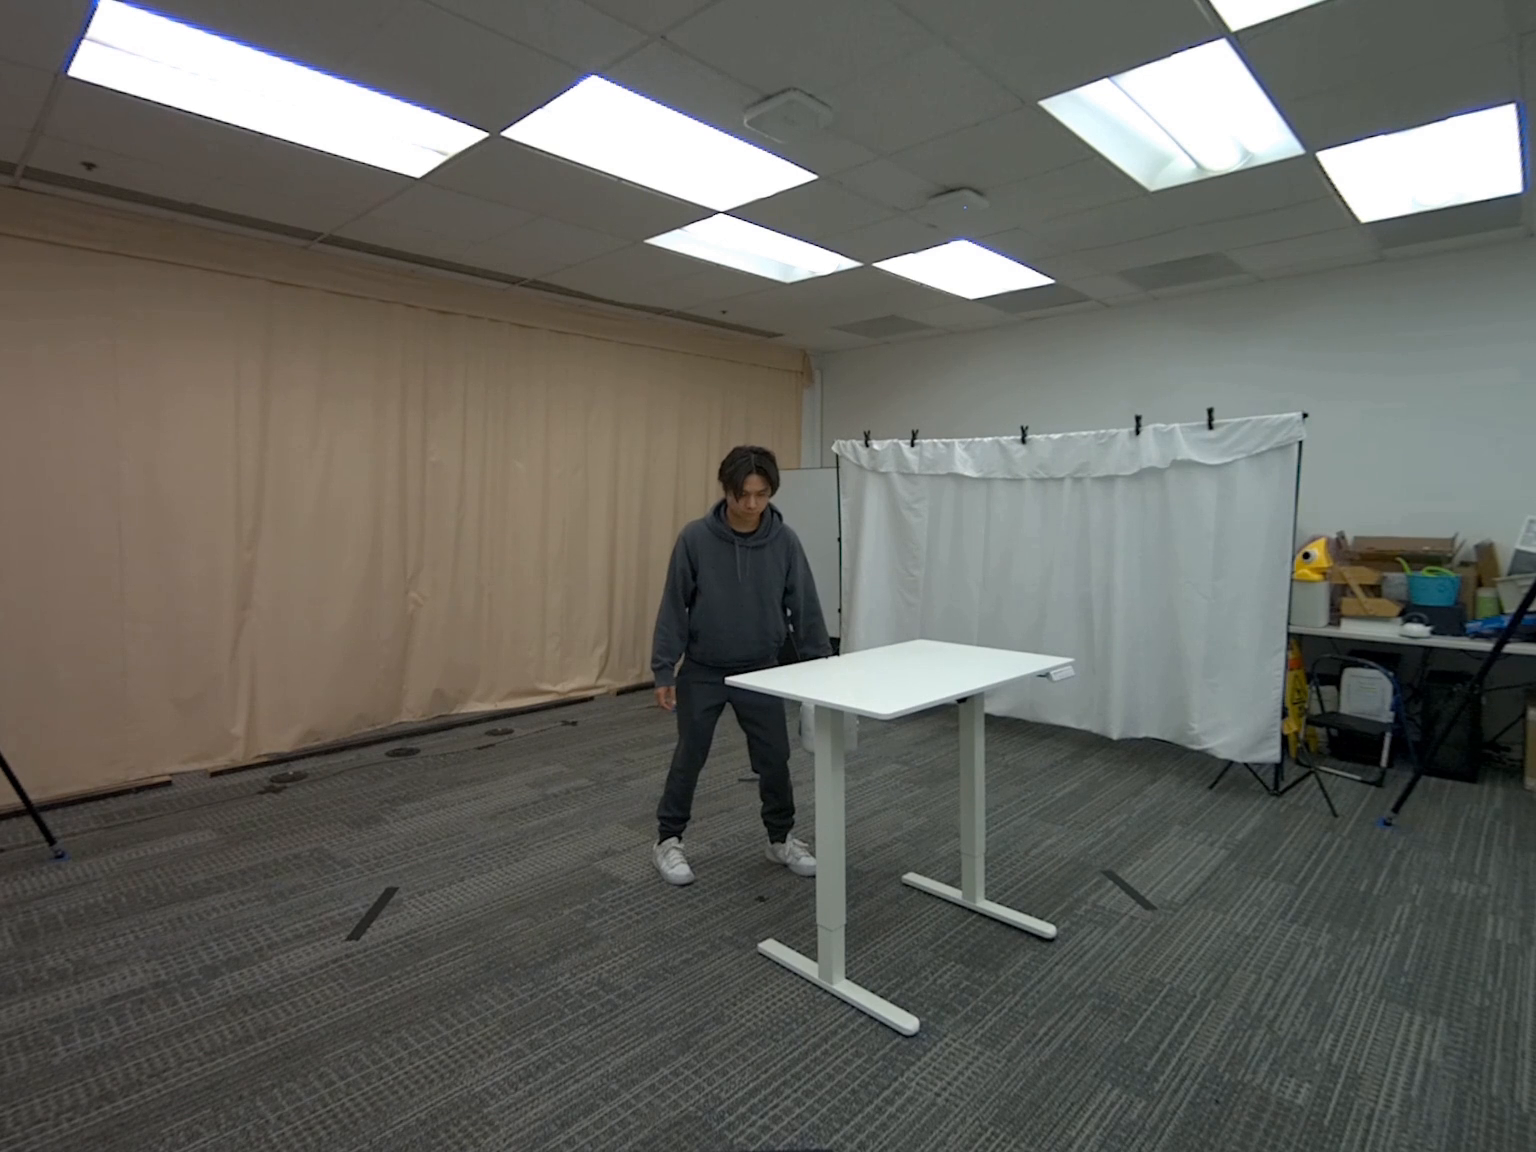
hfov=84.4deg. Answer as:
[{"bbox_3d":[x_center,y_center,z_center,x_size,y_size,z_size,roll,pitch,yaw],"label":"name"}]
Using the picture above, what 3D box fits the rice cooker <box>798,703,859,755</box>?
[{"bbox_3d":[0.241,0.559,3.201,0.216,0.233,0.222,0,1,-6],"label":"rice cooker"}]
